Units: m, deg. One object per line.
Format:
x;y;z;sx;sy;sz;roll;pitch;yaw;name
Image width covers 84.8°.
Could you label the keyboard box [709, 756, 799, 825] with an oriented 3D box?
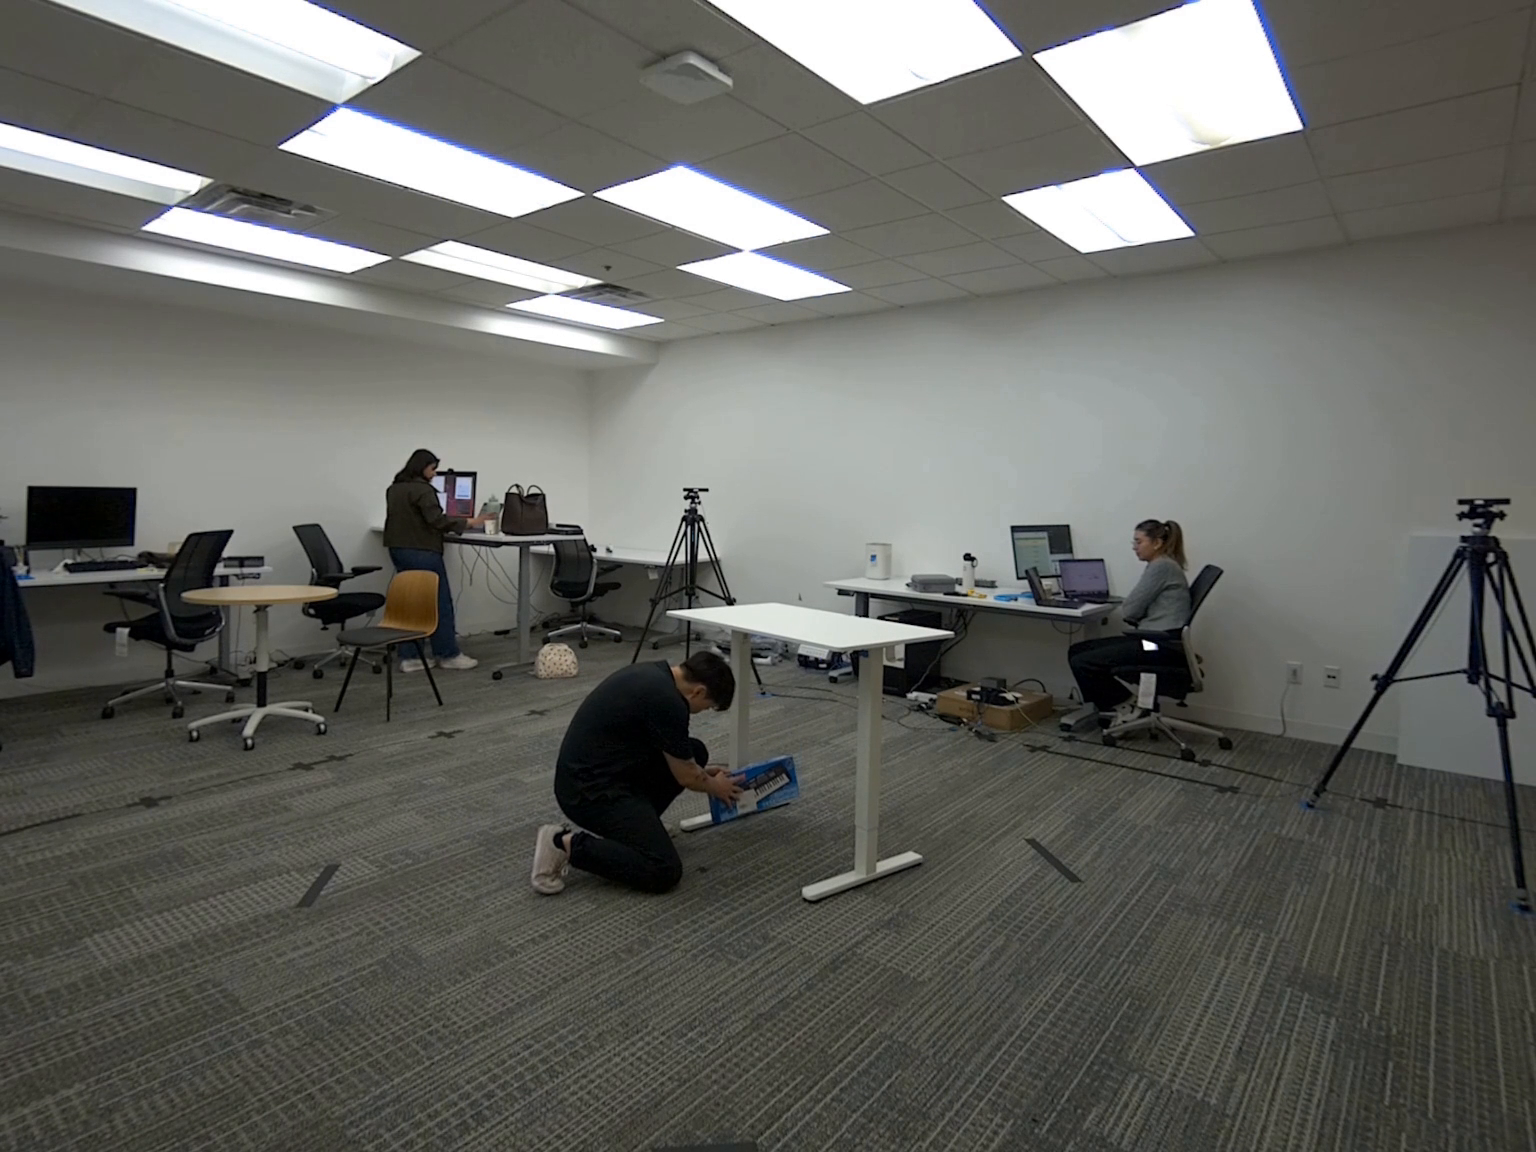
-0.067;0.886;3.530;0.425;0.177;0.060;-7;-7;-39;keyboard box
